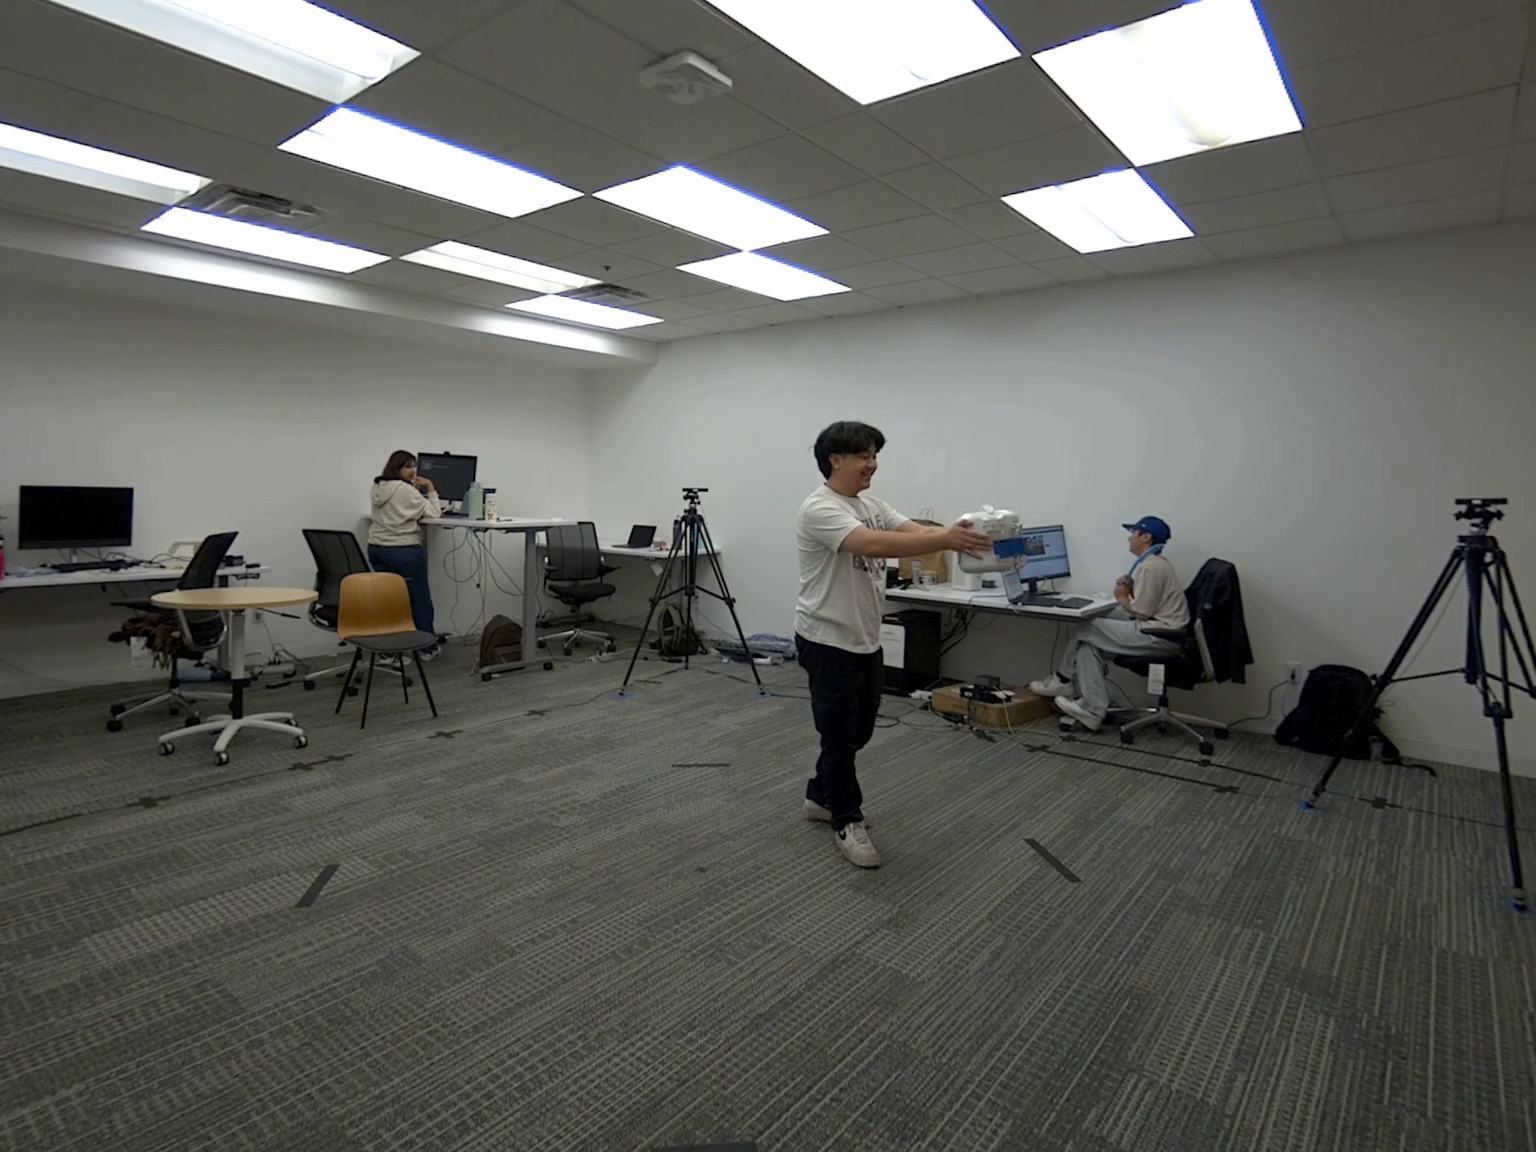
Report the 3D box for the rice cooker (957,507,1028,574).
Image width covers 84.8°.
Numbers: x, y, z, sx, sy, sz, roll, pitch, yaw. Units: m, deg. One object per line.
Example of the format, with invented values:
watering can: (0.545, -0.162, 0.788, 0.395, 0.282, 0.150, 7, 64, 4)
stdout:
rice cooker: (0.751, -0.133, 2.930, 0.219, 0.233, 0.218, -4, -2, 8)
